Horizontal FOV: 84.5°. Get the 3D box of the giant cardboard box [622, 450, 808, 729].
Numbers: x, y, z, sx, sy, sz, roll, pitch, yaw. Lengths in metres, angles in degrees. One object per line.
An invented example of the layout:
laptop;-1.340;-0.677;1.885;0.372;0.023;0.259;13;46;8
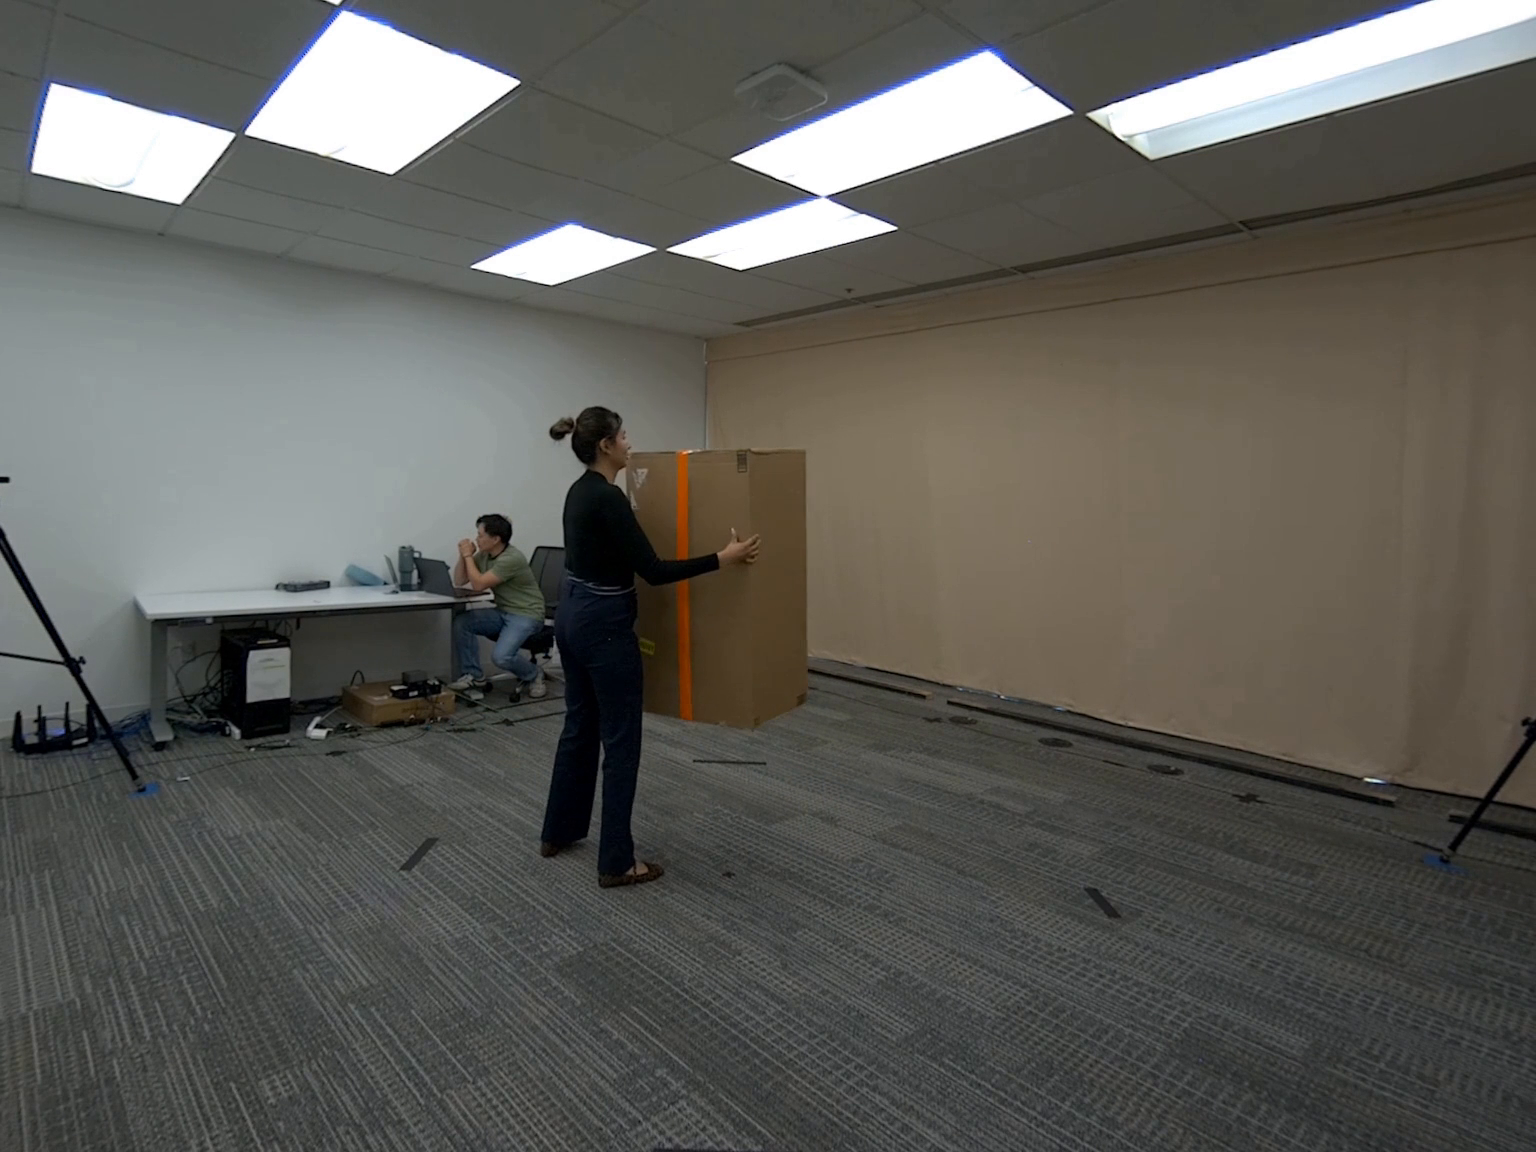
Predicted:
giant cardboard box;-0.202;0.021;3.329;0.591;1.021;0.418;3;6;33
